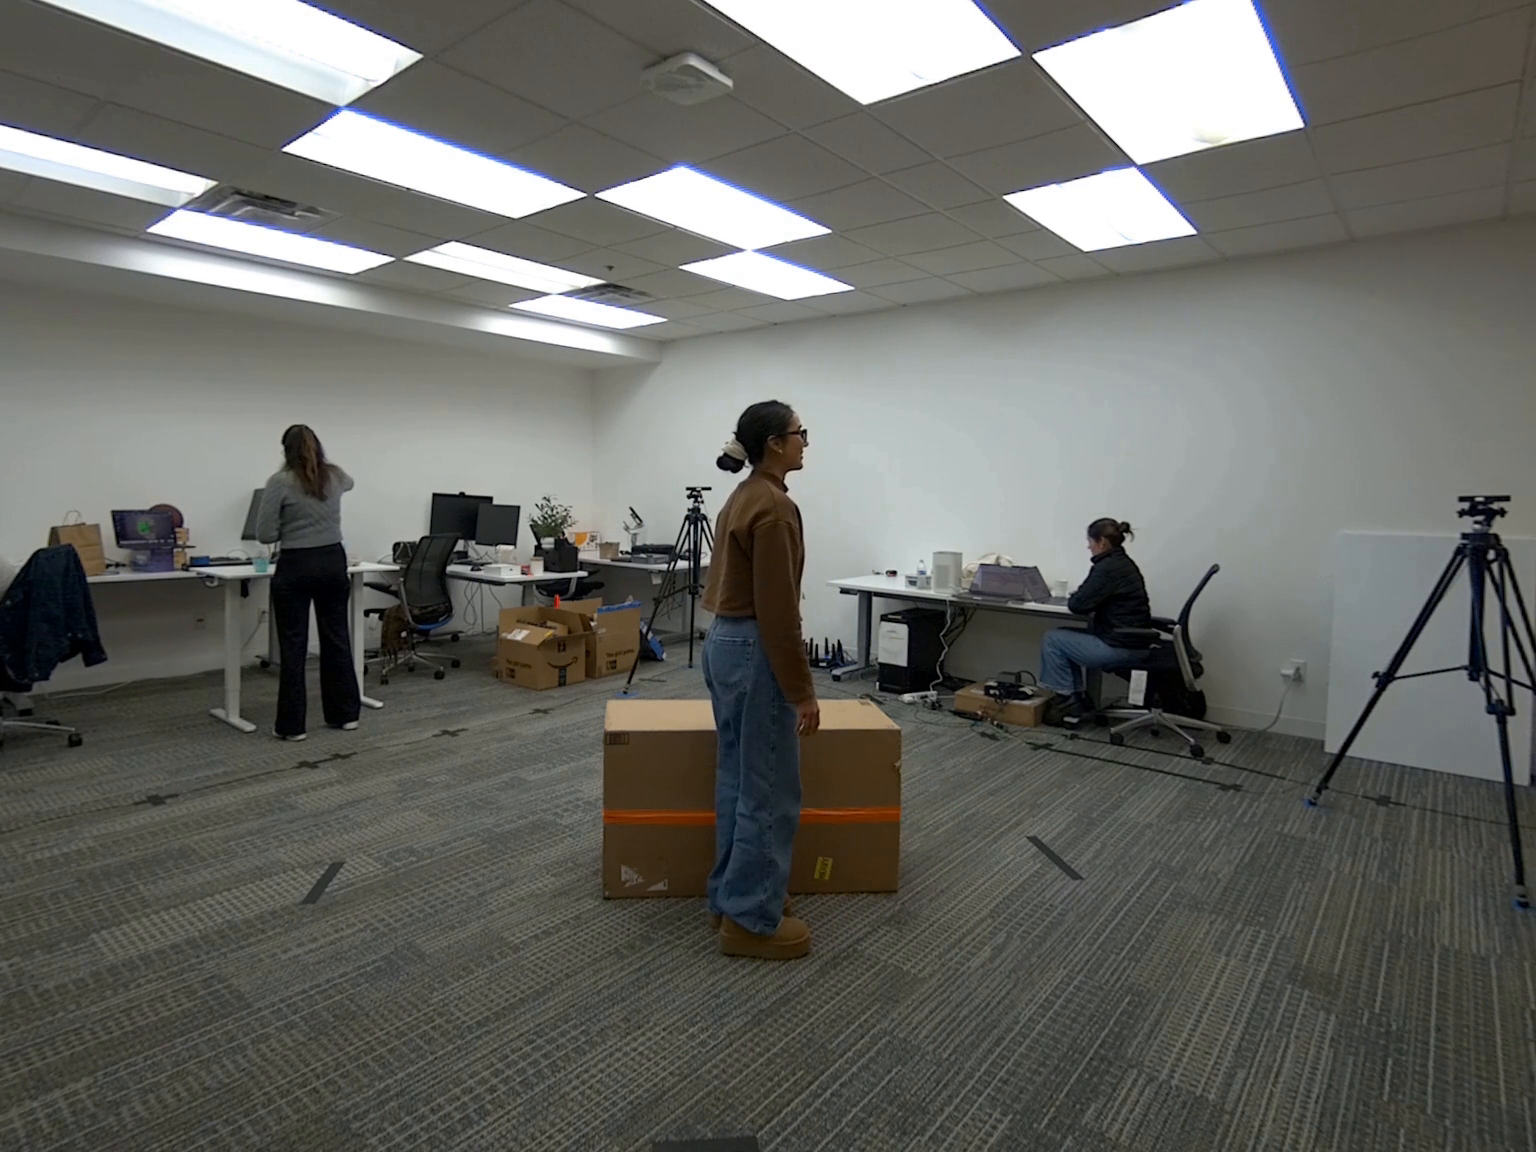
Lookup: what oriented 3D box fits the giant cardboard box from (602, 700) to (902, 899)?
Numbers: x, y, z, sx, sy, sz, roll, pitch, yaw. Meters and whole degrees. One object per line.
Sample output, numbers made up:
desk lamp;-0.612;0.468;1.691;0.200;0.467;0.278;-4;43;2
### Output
giant cardboard box;-0.085;0.784;3.091;1.021;0.583;0.450;0;3;-6
